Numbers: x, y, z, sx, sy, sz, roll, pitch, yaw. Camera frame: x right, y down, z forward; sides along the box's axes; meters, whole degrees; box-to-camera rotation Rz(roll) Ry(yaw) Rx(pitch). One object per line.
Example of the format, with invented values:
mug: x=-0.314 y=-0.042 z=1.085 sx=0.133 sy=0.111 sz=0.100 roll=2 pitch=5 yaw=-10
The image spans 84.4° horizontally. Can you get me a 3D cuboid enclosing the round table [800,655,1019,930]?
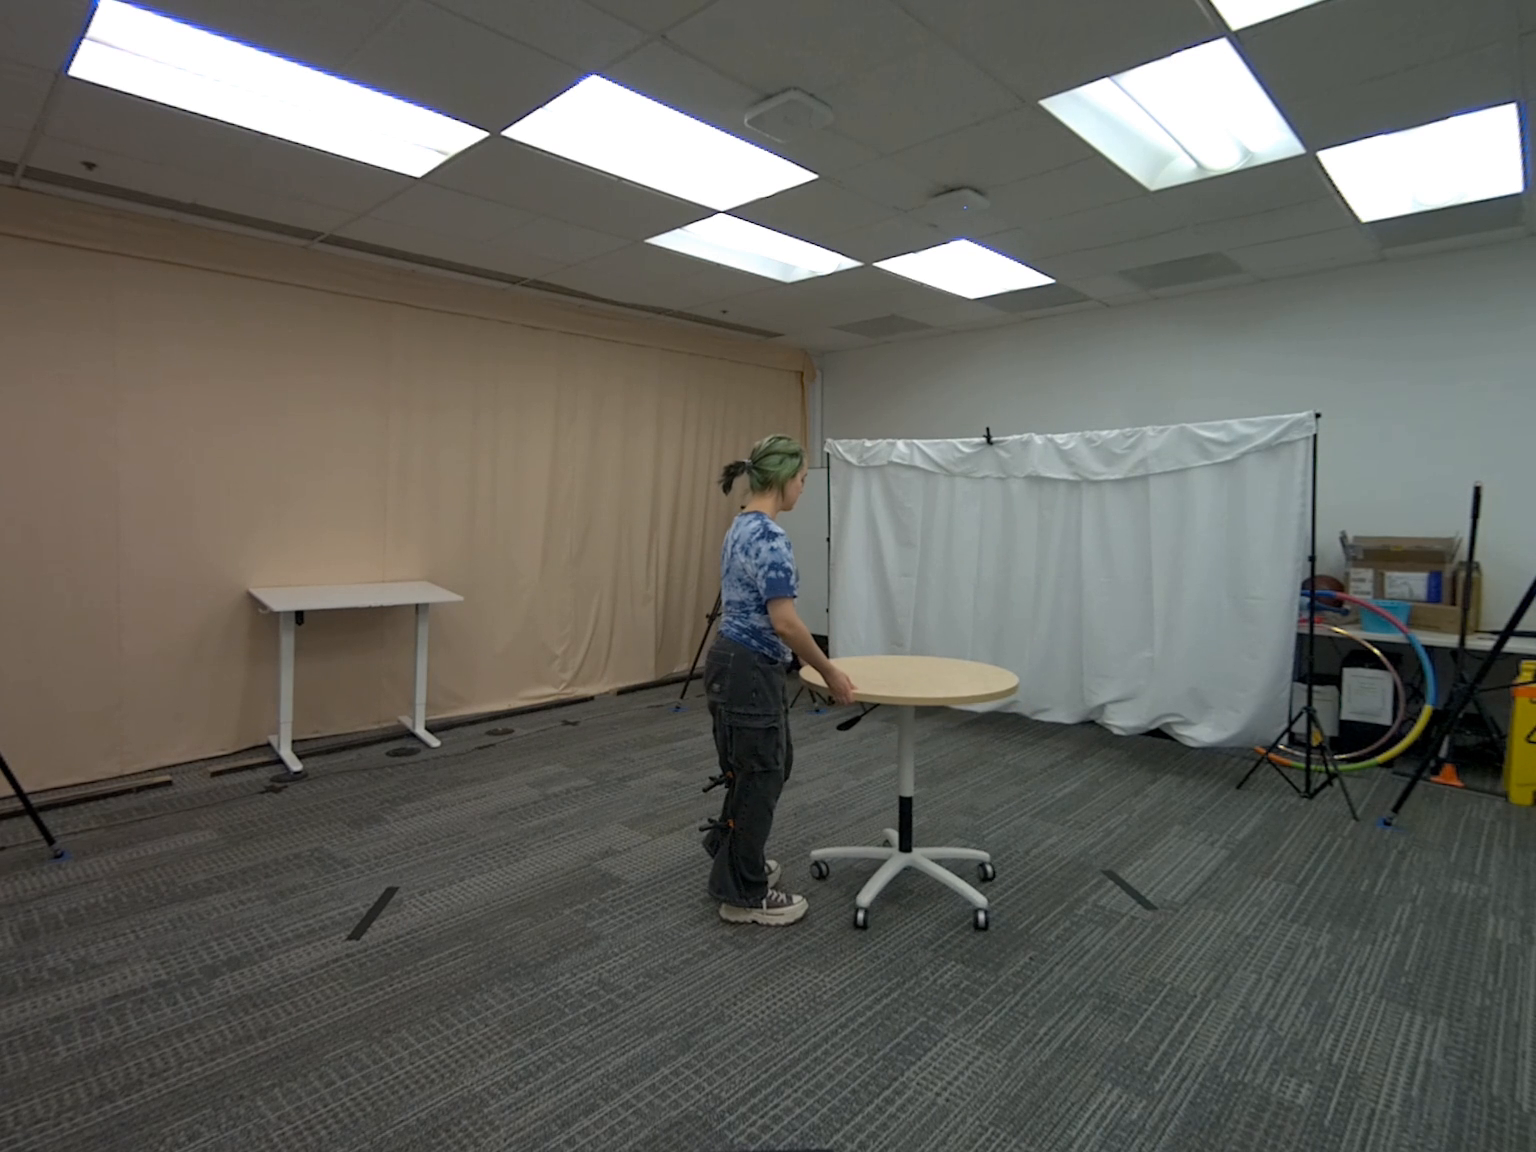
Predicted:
round table: x=0.497 y=0.746 z=3.040 sx=0.763 sy=0.792 sz=0.766 roll=0 pitch=3 yaw=-2
